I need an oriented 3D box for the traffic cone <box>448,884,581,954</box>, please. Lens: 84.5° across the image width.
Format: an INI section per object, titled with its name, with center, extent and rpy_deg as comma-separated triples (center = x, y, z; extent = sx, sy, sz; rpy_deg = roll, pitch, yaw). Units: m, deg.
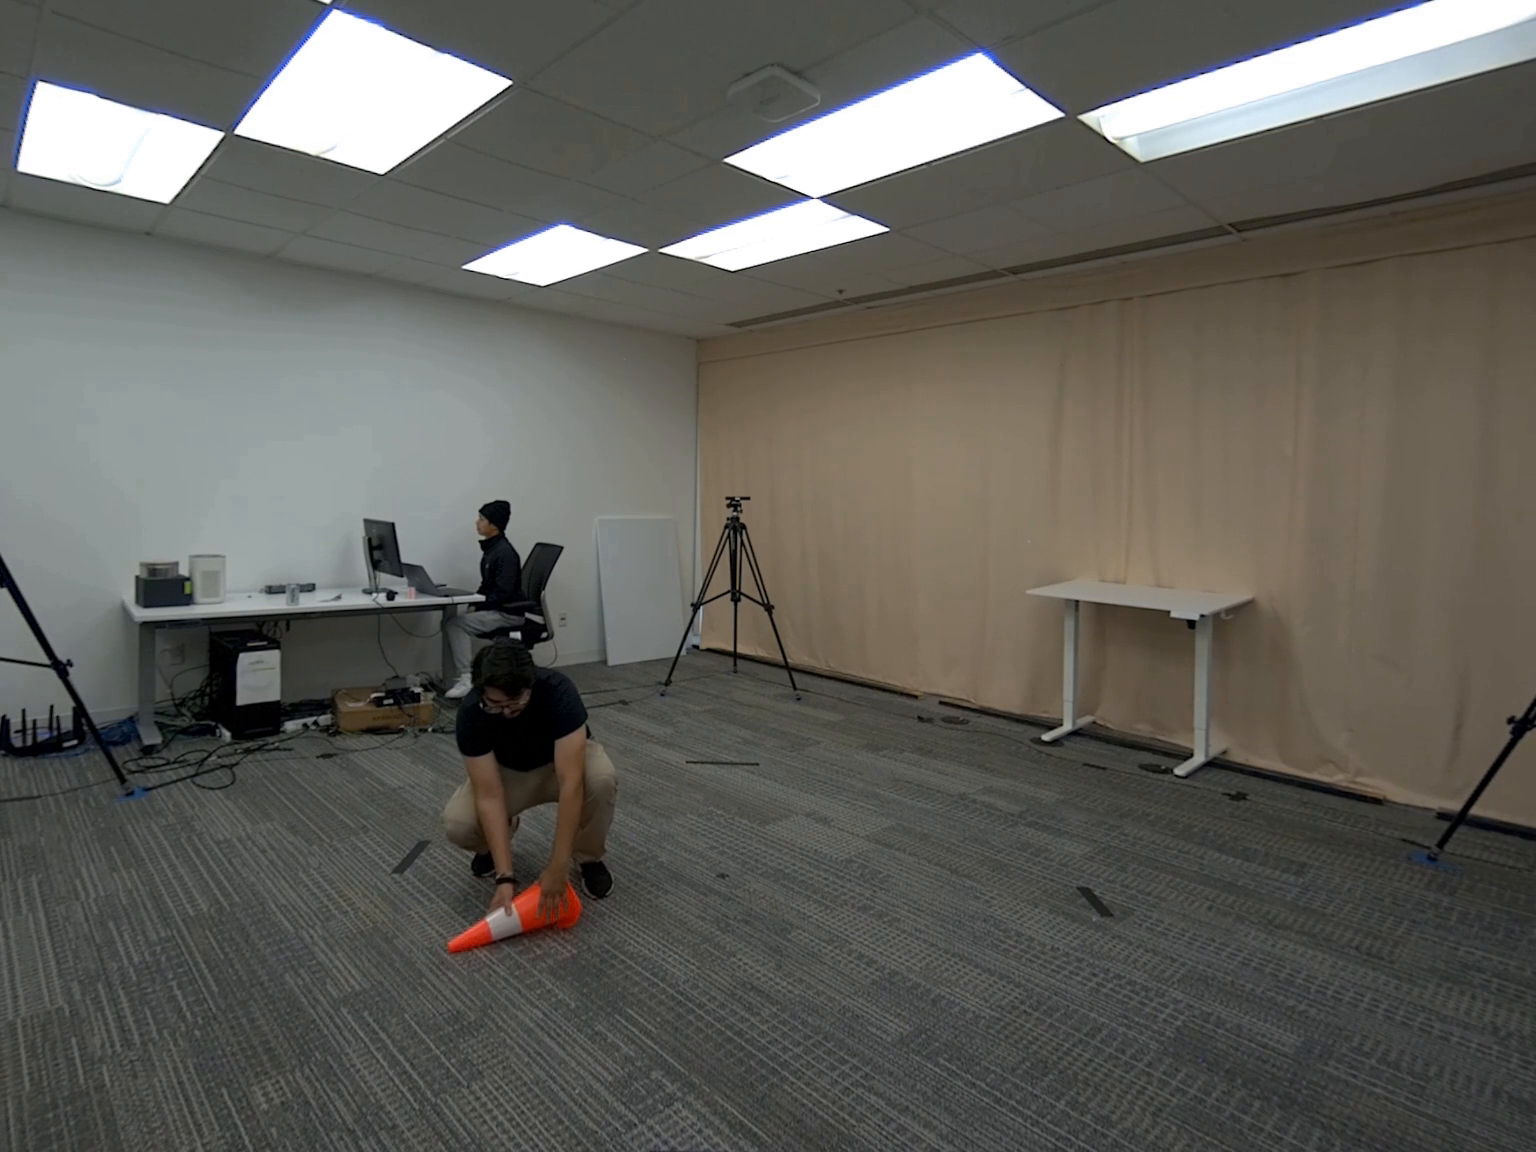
[traffic cone]
center = -0.832, 1.094, 2.629
extent = 0.378, 0.208, 0.203
rpy_deg = -19, -24, -34
